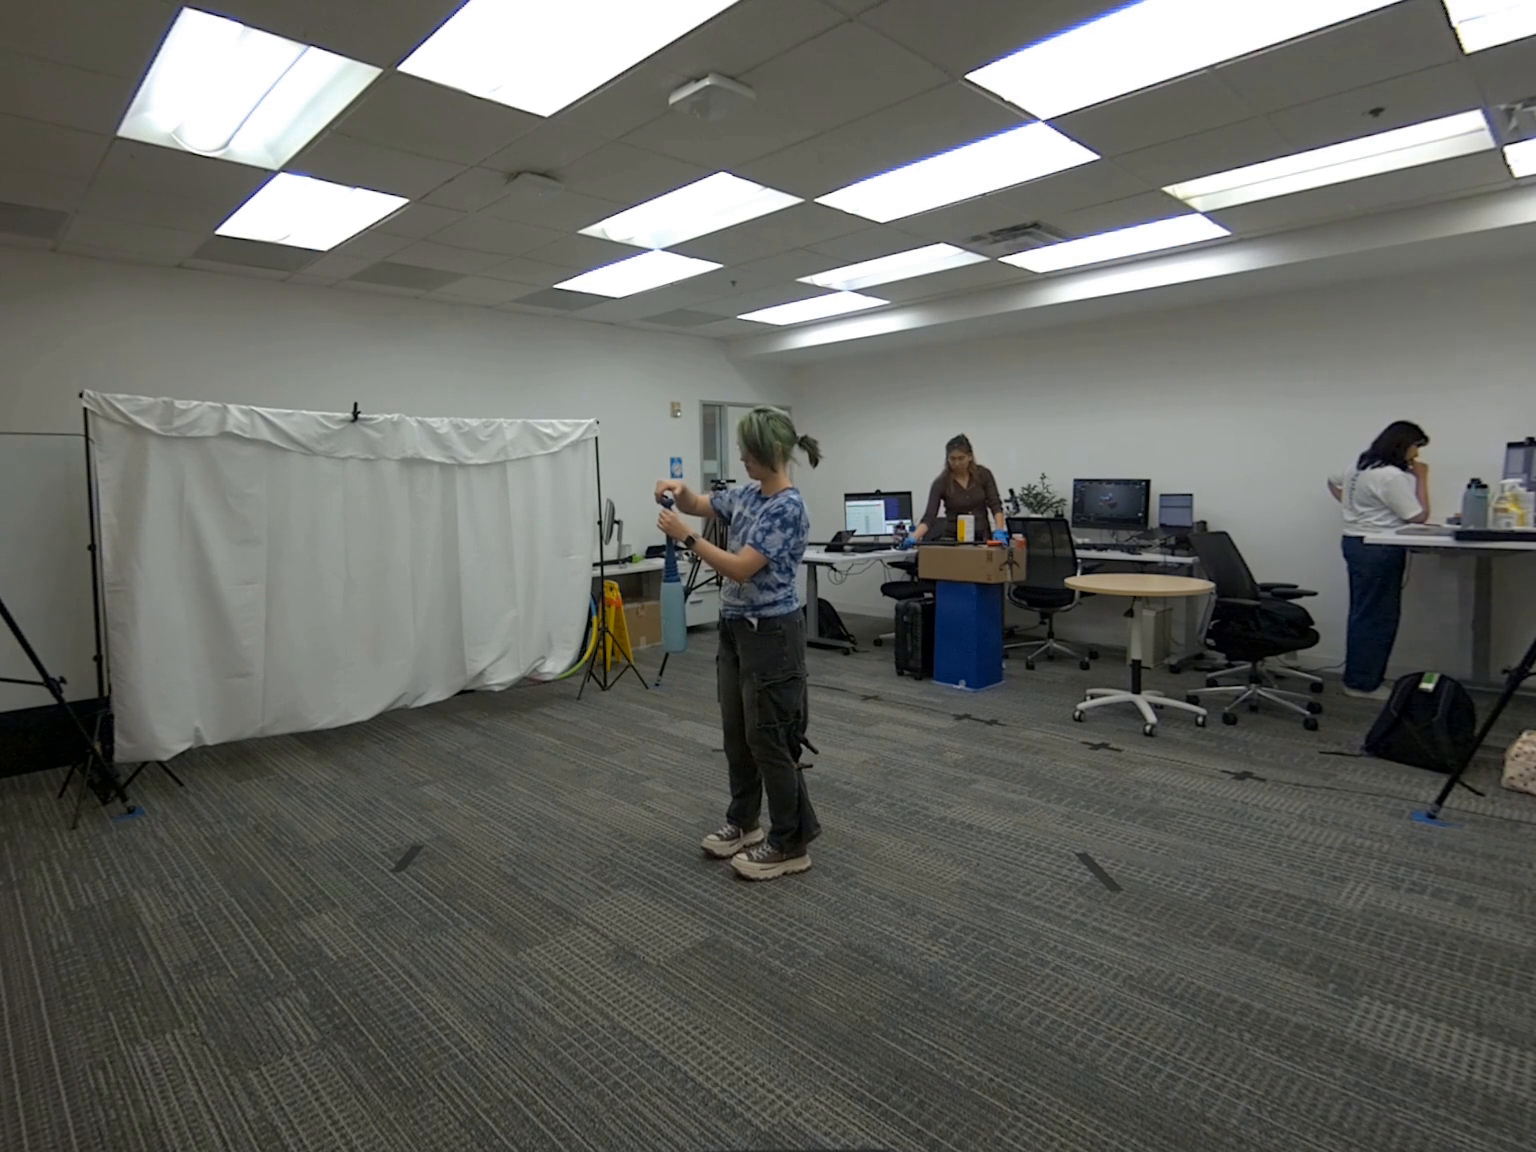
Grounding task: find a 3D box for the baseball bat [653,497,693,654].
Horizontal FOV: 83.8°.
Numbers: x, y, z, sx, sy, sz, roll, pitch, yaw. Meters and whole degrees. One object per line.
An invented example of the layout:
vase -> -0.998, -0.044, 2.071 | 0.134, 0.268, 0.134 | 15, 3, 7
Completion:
baseball bat -> -0.334, -0.008, 3.001 | 0.089, 0.540, 0.089 | -4, 6, -1
